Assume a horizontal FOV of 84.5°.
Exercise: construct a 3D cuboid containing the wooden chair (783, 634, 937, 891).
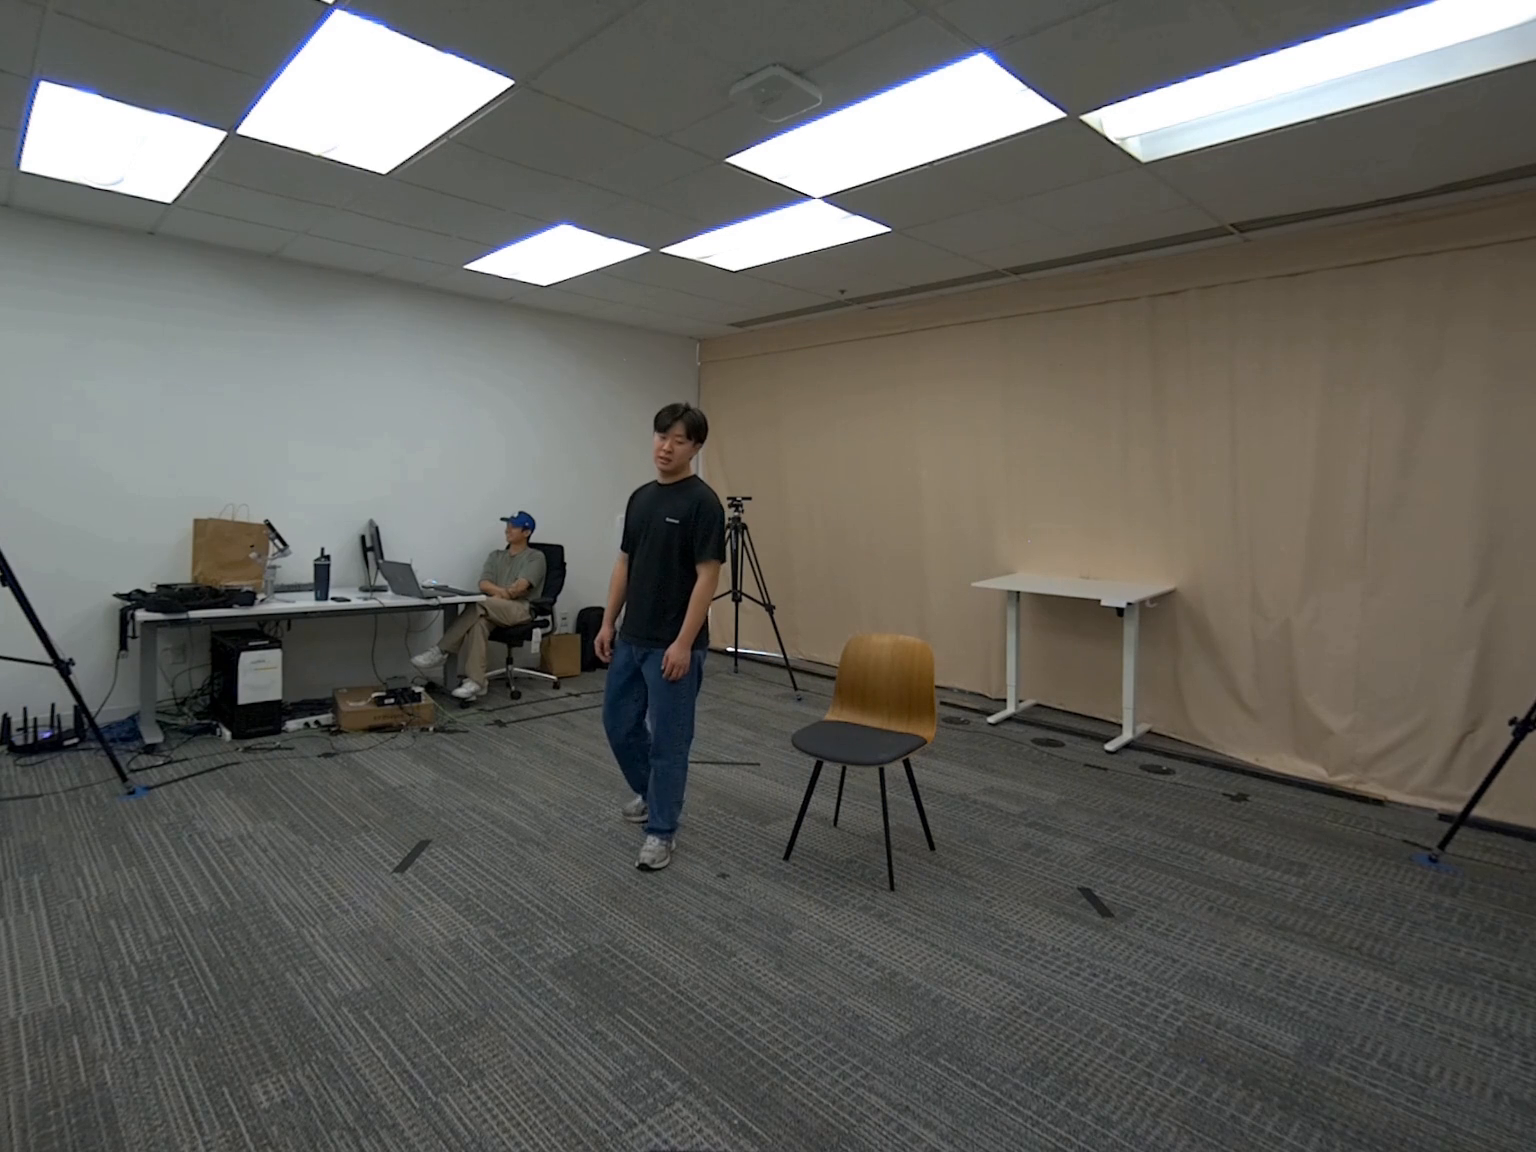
[{"bbox_3d":[0.365,0.675,3.281,0.489,0.877,0.511,4,0,31],"label":"wooden chair"}]
